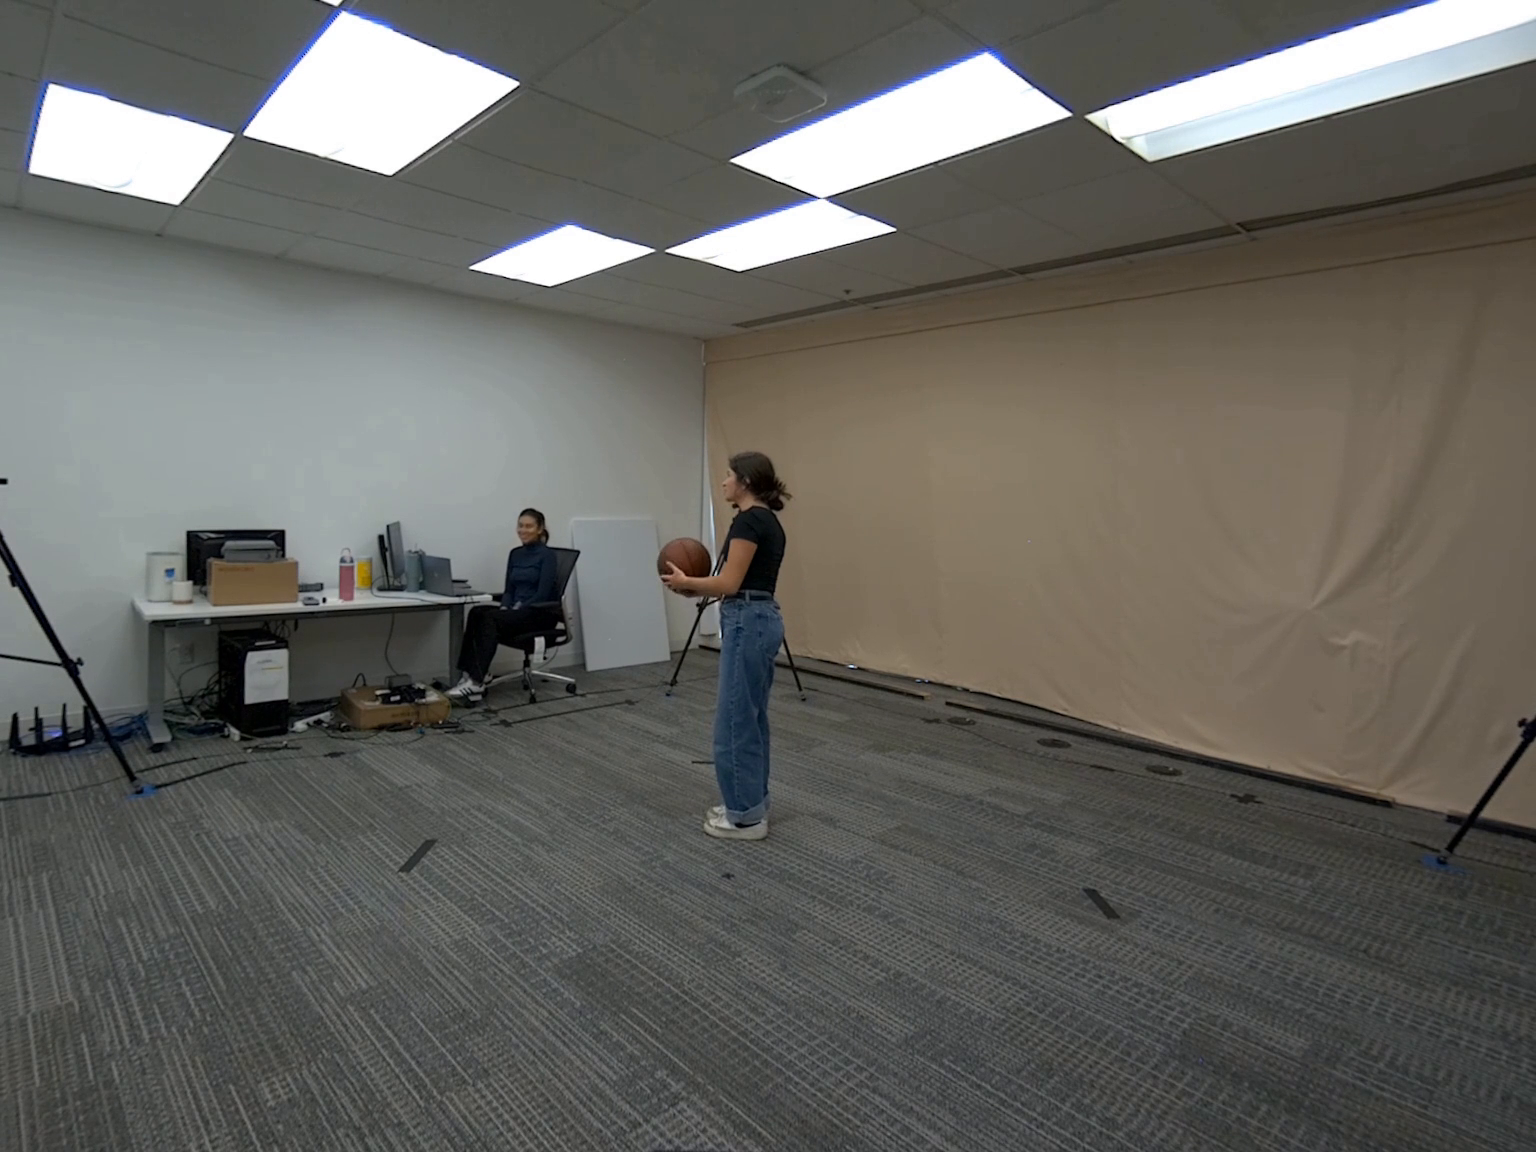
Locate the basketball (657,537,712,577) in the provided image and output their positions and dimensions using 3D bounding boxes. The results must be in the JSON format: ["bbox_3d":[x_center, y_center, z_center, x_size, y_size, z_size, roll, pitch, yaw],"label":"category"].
[{"bbox_3d":[-0.359,-0.038,3.684,0.236,0.235,0.237,1,4,-1],"label":"basketball"}]
